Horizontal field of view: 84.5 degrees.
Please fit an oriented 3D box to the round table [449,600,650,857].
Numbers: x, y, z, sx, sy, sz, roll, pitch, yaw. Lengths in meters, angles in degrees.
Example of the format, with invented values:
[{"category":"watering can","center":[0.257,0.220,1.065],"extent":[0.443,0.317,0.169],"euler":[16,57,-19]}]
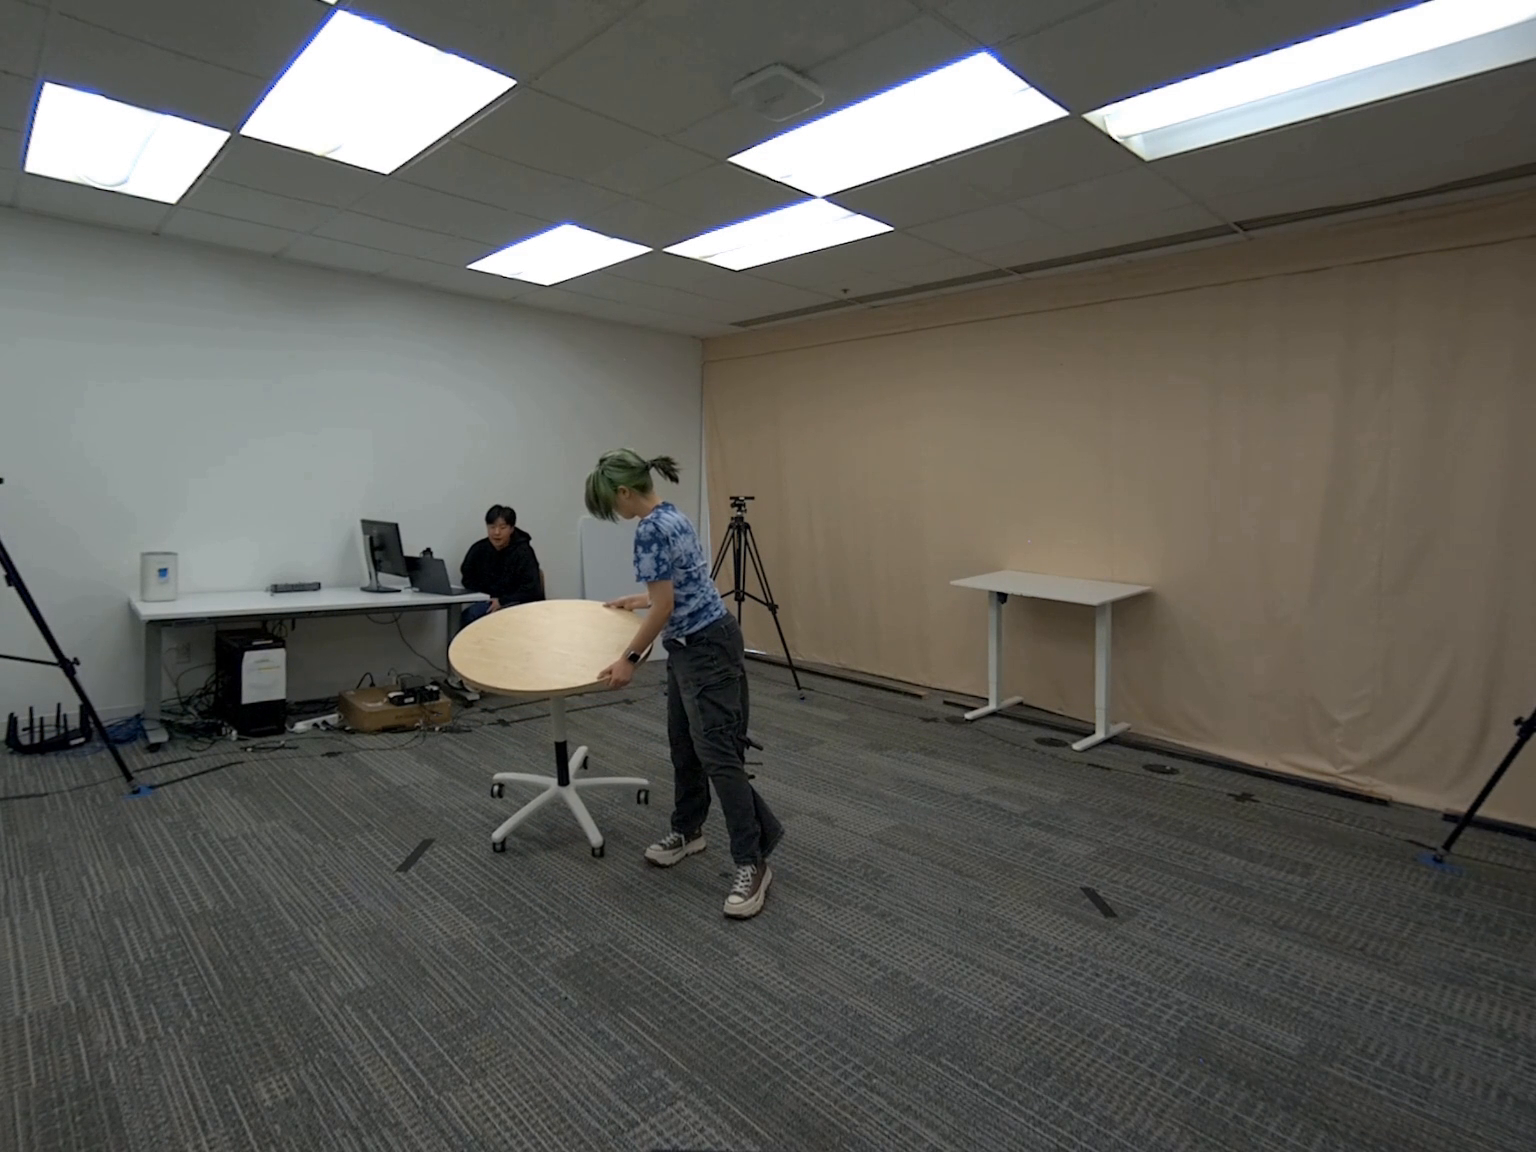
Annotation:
[{"category":"round table","center":[-0.841,0.613,3.369],"extent":[0.763,0.783,0.775],"euler":[0,20,-2]}]
